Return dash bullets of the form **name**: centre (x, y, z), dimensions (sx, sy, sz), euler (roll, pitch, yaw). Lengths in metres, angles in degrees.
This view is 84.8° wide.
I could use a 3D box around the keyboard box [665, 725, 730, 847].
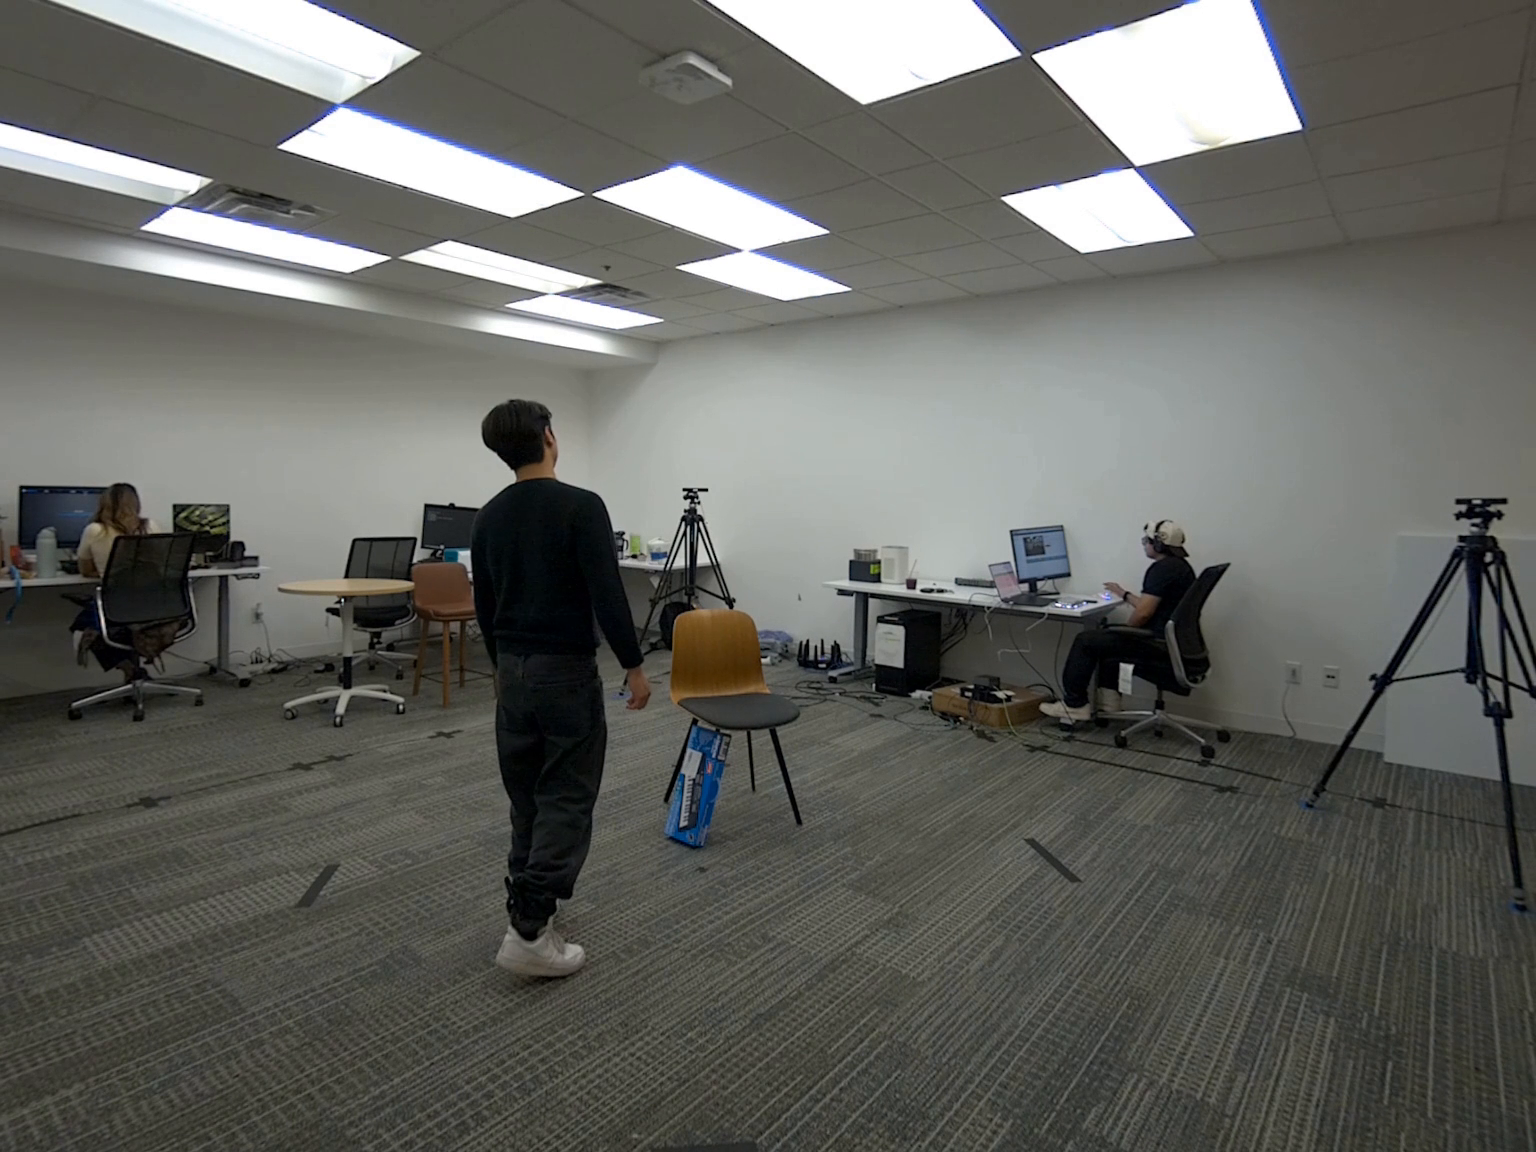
- **keyboard box**: centre (-0.291, 0.828, 3.393), dimensions (0.182, 0.440, 0.057), euler (3, -17, 41)
